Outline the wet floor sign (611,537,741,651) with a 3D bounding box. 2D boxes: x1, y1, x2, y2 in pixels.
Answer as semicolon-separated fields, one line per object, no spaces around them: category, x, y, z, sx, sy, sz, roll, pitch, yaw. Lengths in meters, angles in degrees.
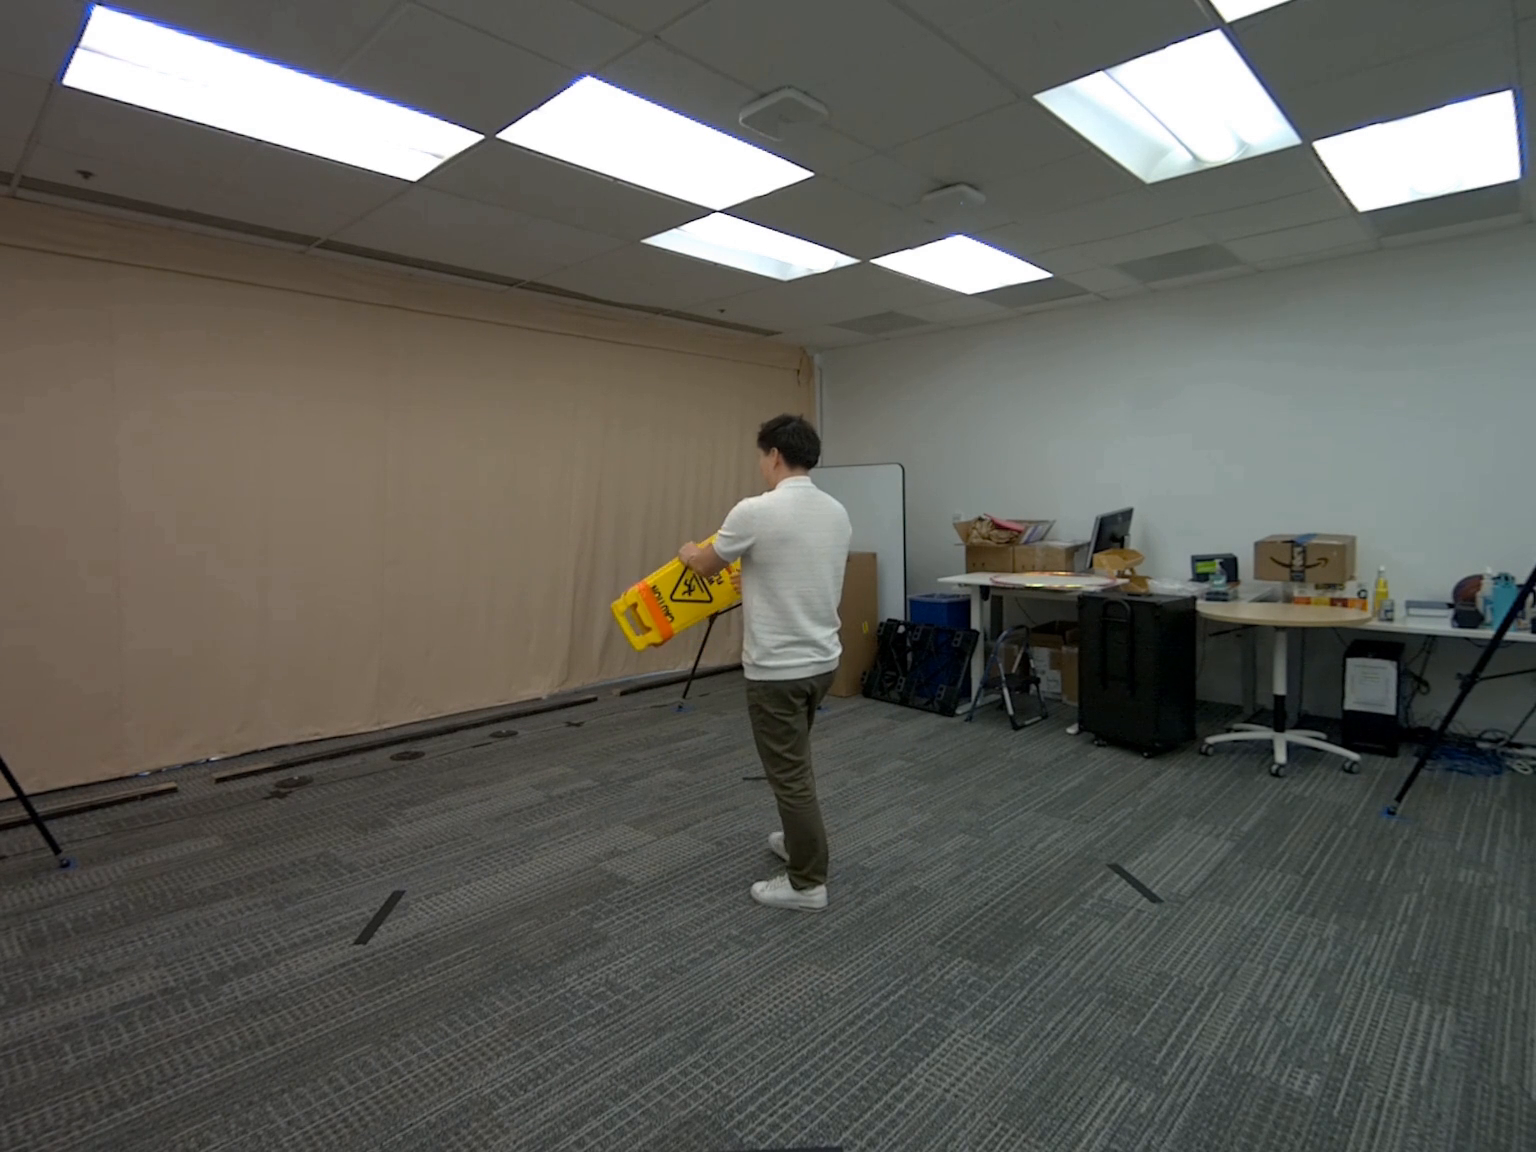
wet floor sign;-0.325;0.064;3.247;0.295;0.282;0.634;-29;3;46
